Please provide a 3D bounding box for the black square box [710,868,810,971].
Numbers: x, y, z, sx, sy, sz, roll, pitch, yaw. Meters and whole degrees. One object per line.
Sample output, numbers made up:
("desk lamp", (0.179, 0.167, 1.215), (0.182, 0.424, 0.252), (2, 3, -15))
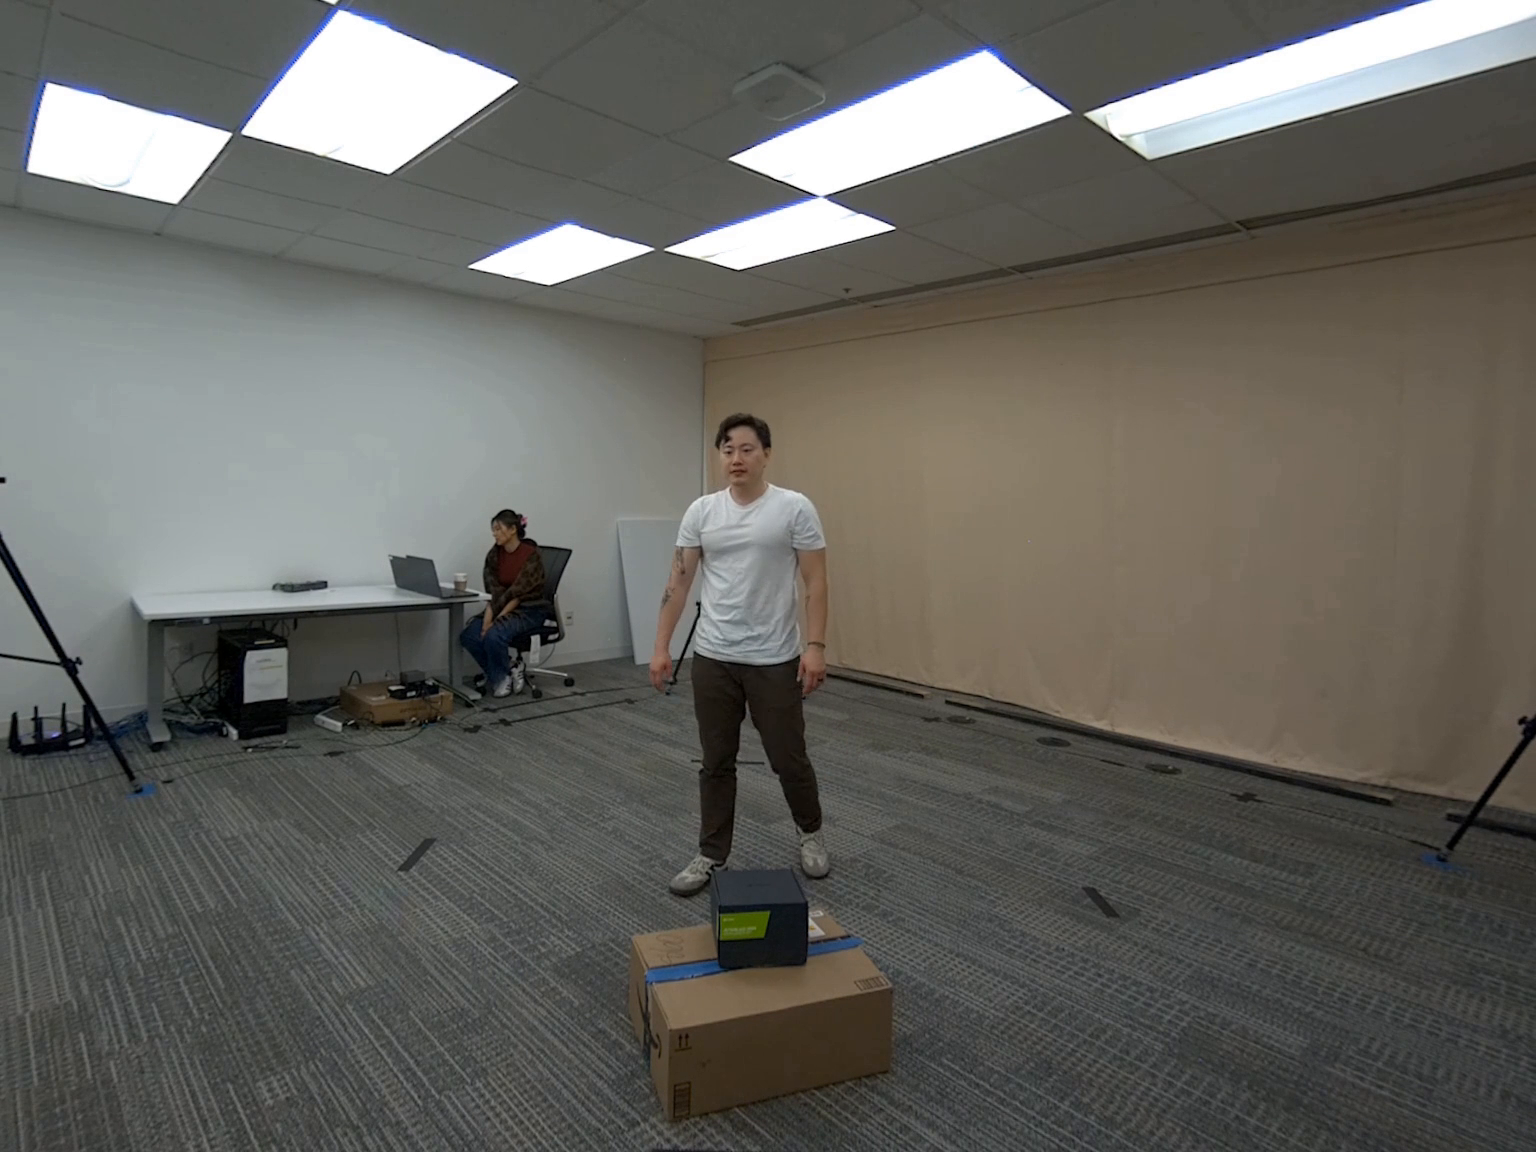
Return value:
("black square box", (-0.038, 0.880, 2.212), (0.226, 0.155, 0.219), (0, 4, -9))
